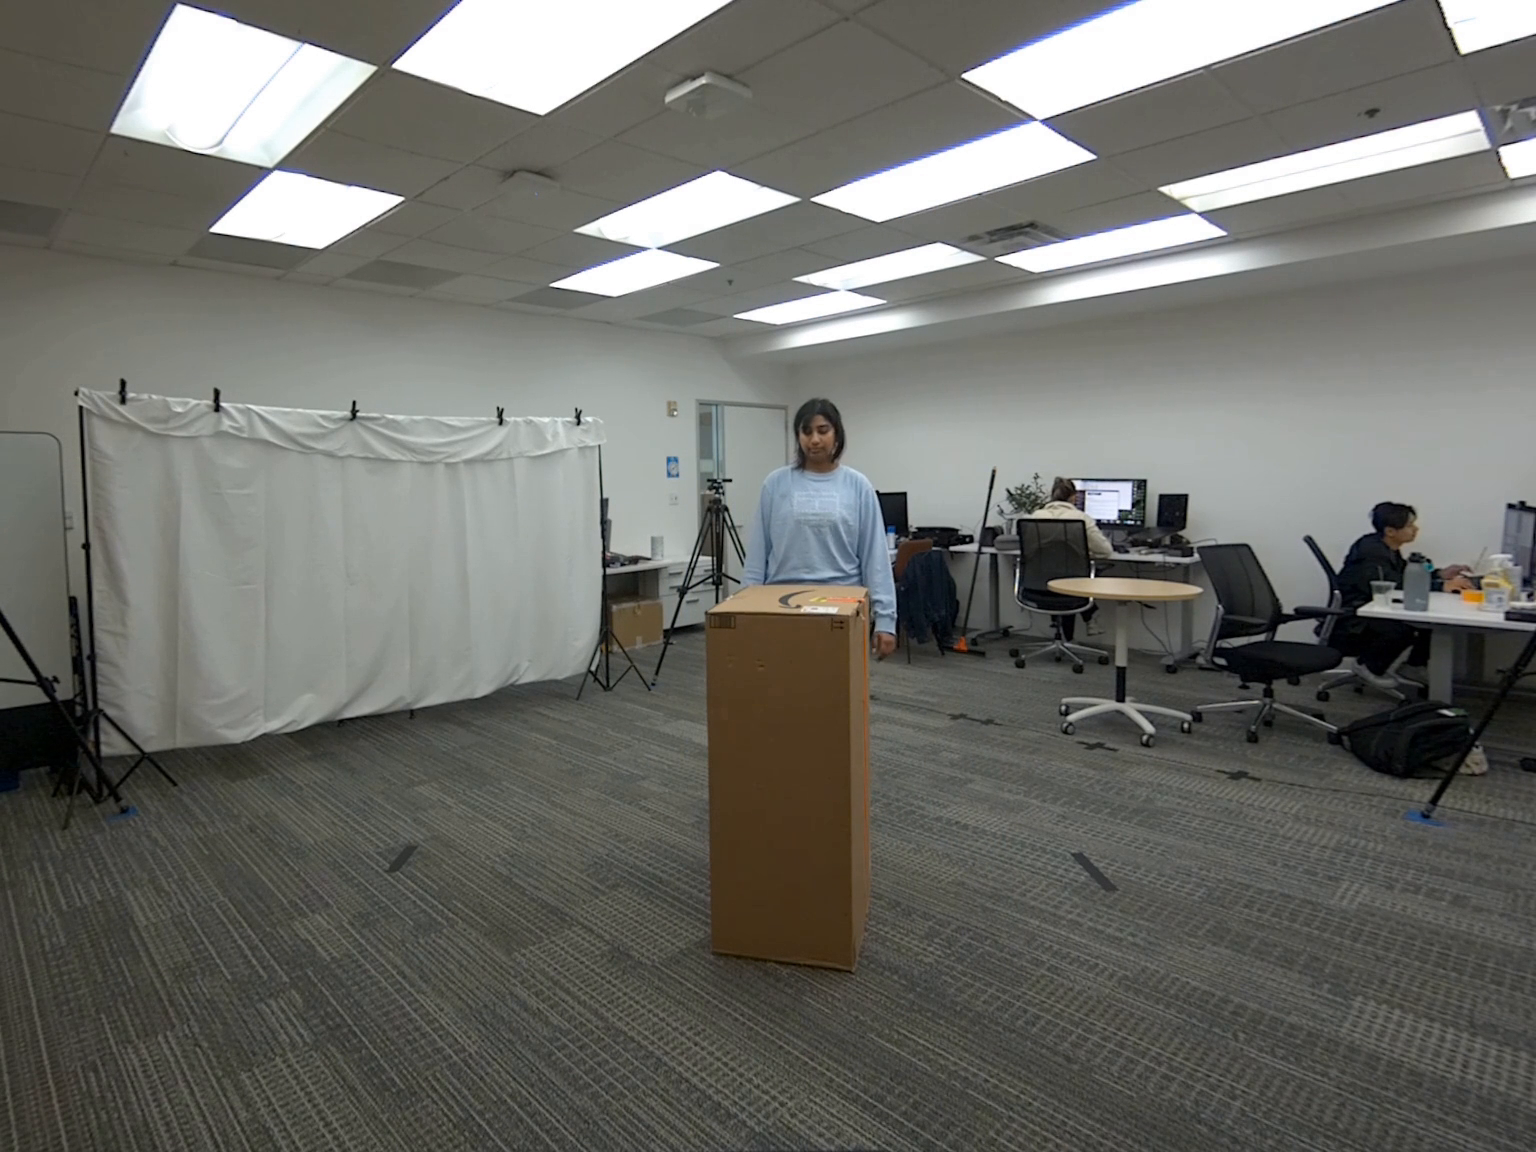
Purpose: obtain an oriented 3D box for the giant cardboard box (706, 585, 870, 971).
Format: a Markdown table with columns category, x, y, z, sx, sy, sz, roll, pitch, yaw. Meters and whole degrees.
| category | x | y | z | sx | sy | sz | roll | pitch | yaw |
| --- | --- | --- | --- | --- | --- | --- | --- | --- | --- |
| giant cardboard box | 0.087 | 0.581 | 2.711 | 0.432 | 1.022 | 0.572 | 0 | 4 | 12 |
